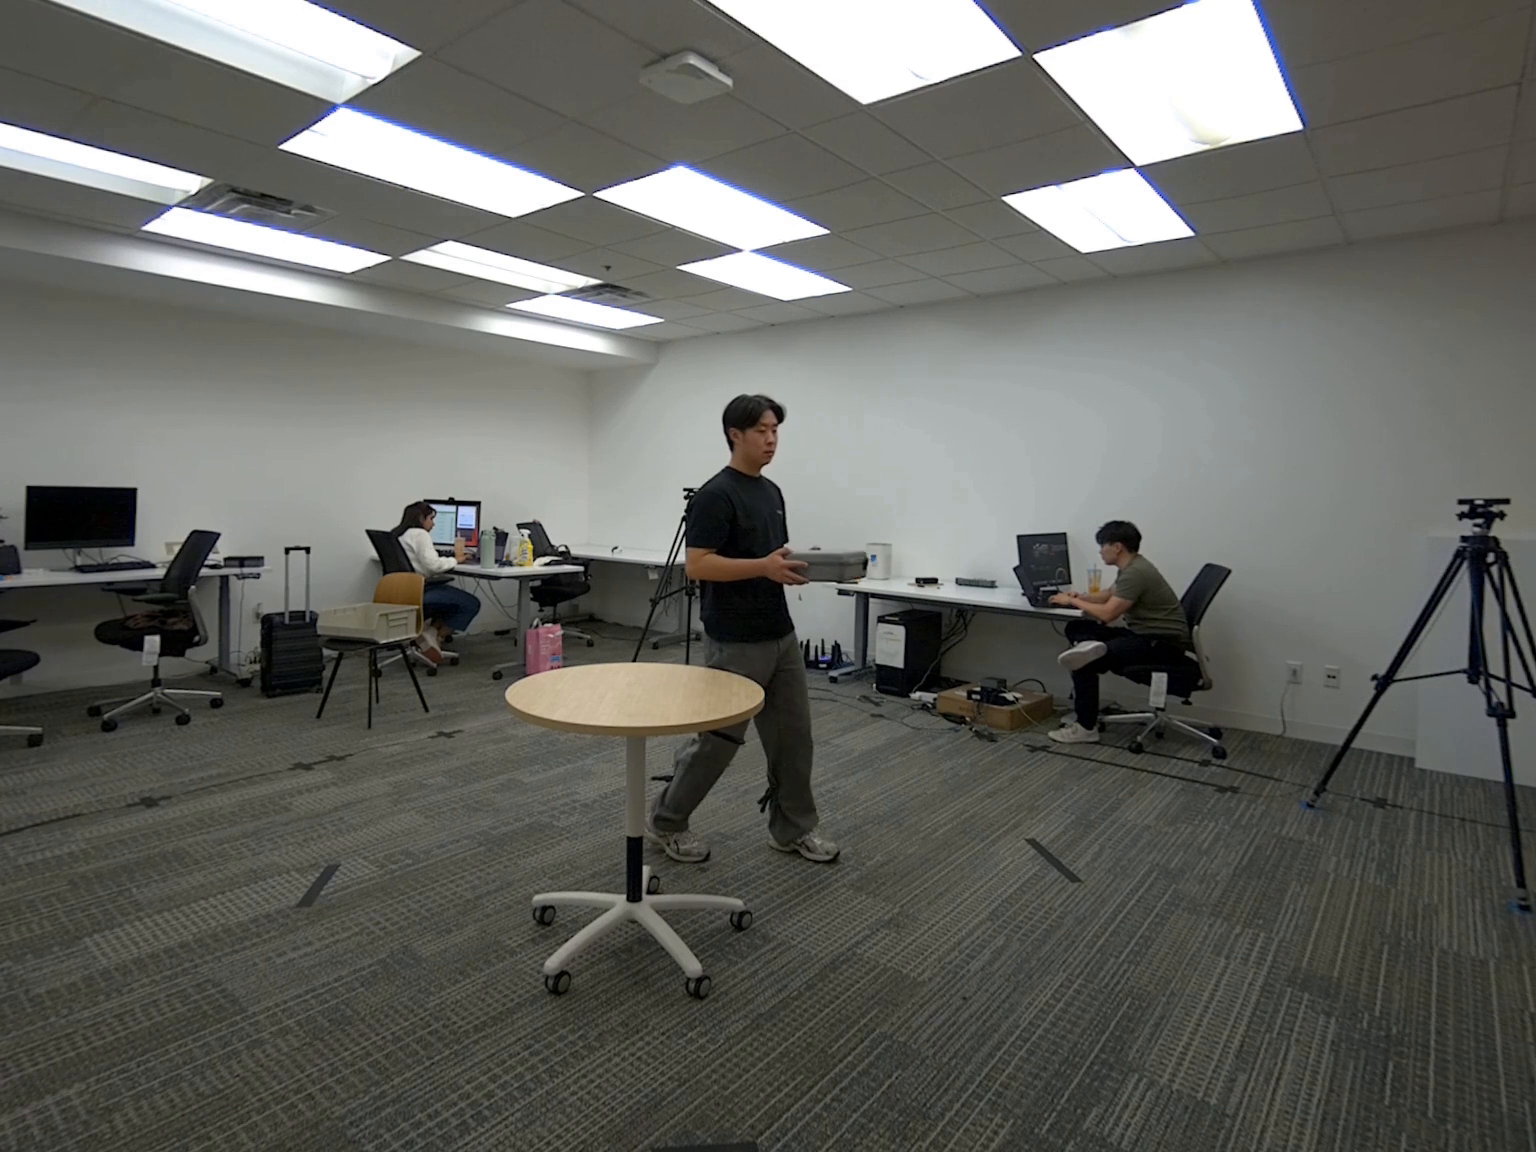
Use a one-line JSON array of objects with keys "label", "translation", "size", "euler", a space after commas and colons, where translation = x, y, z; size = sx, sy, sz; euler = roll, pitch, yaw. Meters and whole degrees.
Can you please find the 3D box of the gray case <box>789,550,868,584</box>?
[{"label": "gray case", "translation": [0.191, -0.044, 3.057], "size": [0.296, 0.102, 0.256], "euler": [2, 6, 35]}]
